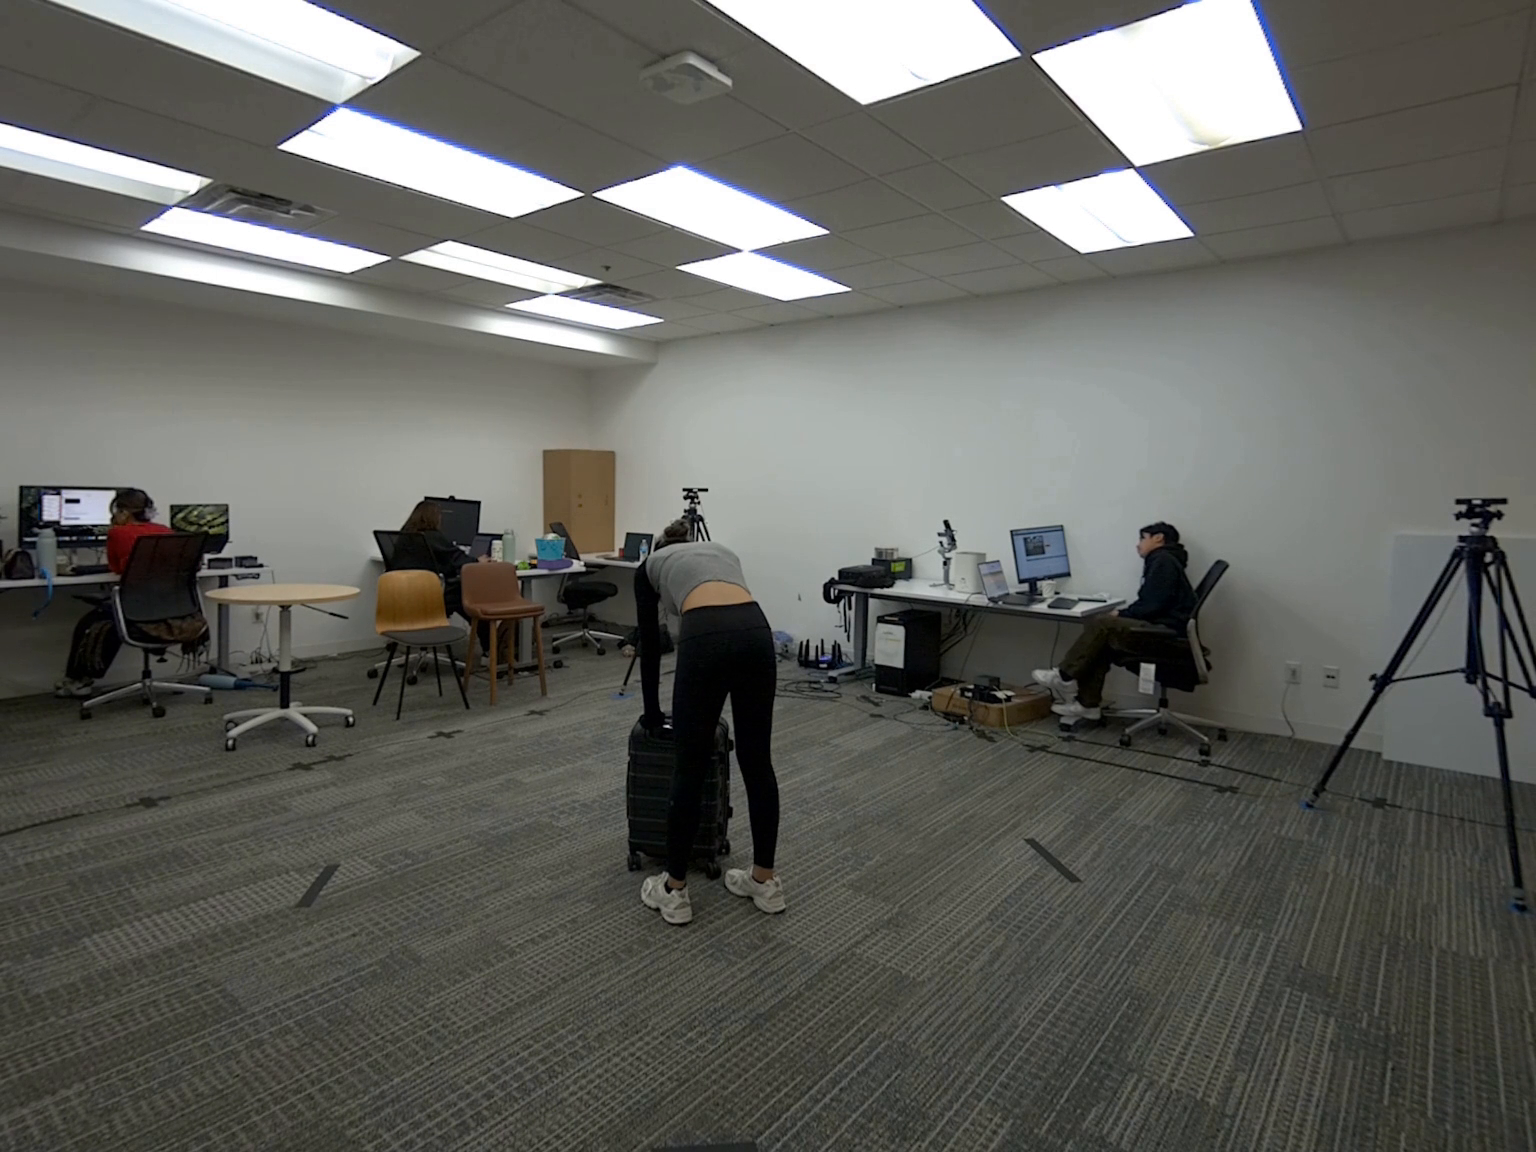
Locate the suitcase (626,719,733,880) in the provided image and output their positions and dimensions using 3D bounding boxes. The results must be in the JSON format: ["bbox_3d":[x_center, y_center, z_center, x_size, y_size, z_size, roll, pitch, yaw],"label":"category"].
[{"bbox_3d":[-0.343,0.785,3.186,0.381,0.549,0.245,2,1,12],"label":"suitcase"}]
